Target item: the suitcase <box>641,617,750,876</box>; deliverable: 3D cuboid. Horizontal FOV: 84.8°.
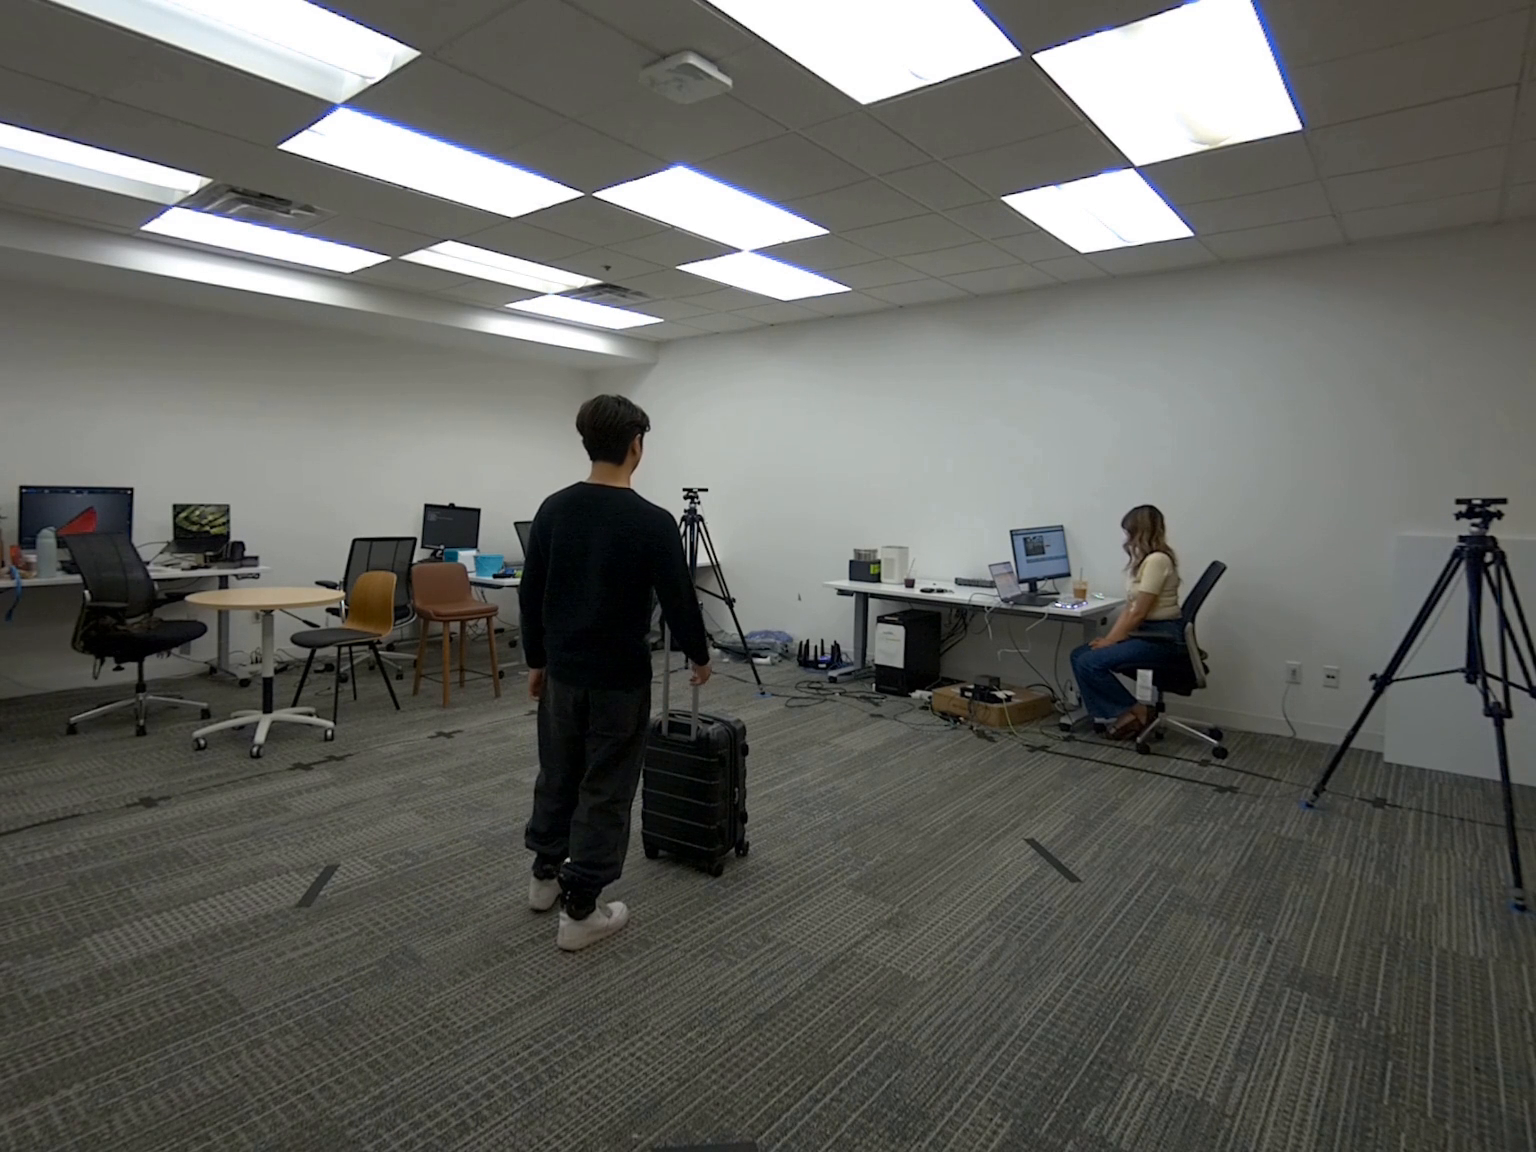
[{"bbox_3d":[-0.277,0.580,3.204,0.395,0.977,0.250,3,2,30],"label":"suitcase"}]
